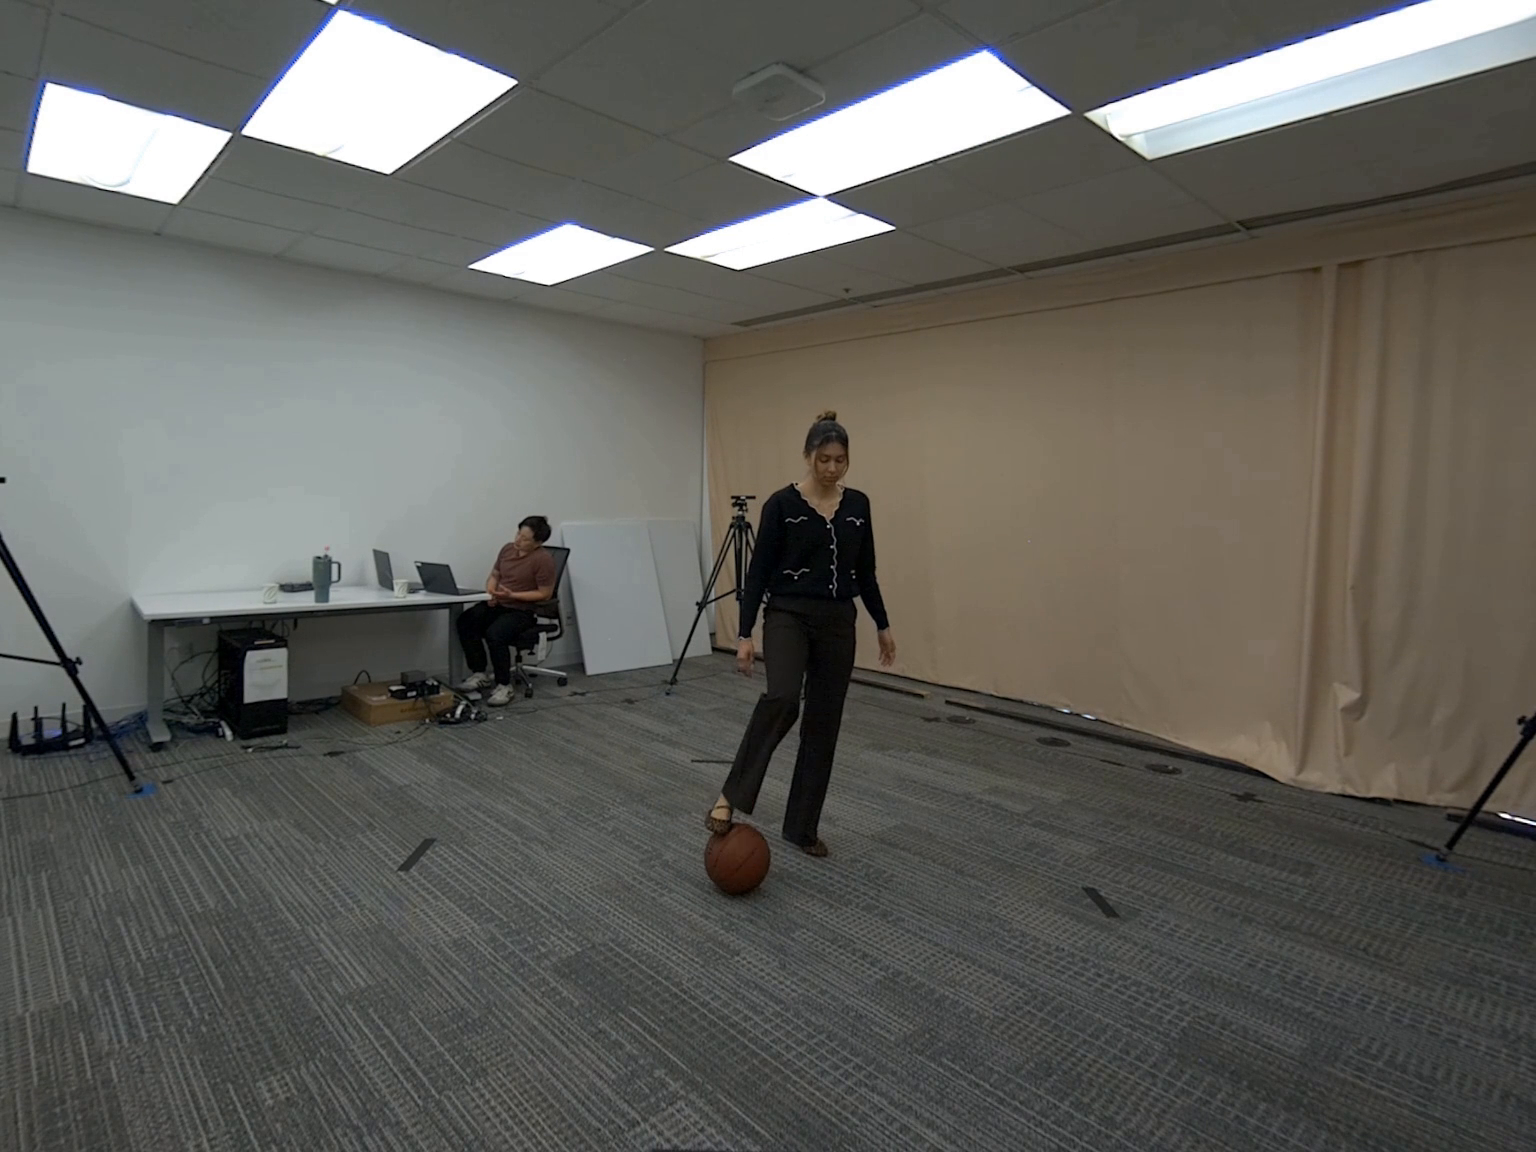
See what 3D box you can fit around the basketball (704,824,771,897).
[{"bbox_3d":[-0.107,0.995,2.974,0.236,0.235,0.237,1,4,-1],"label":"basketball"}]
